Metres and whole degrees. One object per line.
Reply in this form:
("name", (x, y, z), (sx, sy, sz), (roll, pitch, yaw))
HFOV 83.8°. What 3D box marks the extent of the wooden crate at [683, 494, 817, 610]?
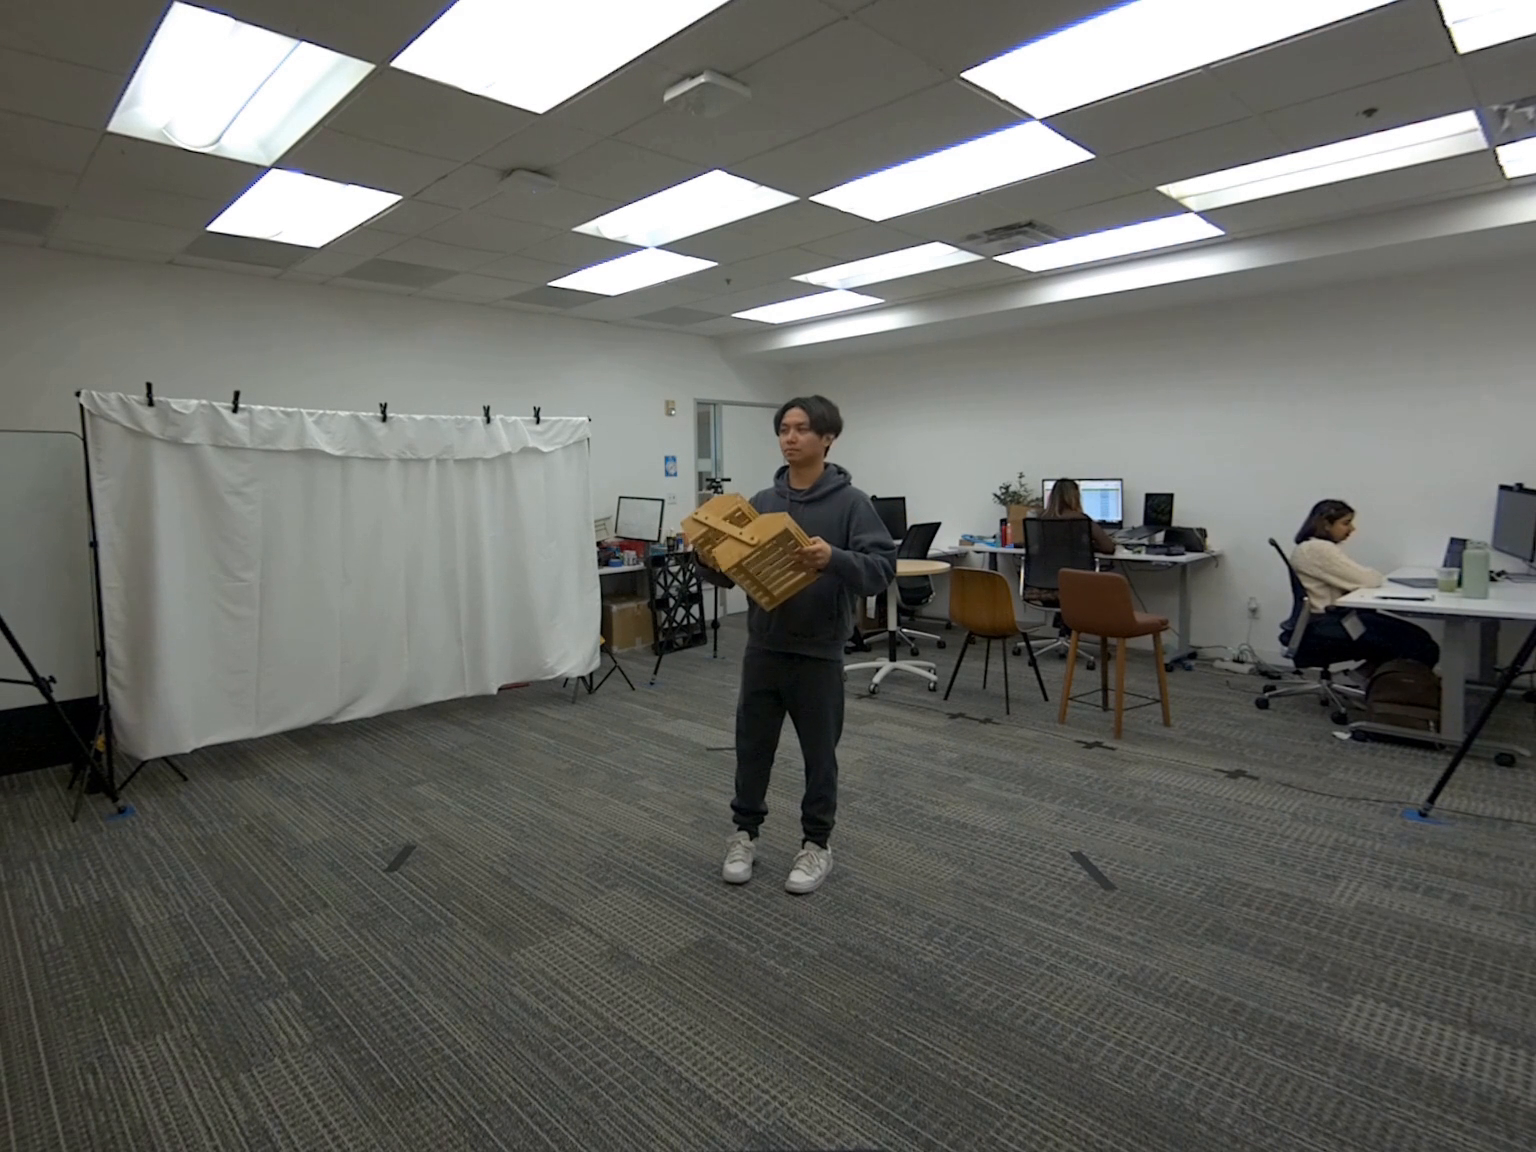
("wooden crate", (-0.044, -0.102, 2.667), (0.303, 0.283, 0.312), (-34, -38, 9))
